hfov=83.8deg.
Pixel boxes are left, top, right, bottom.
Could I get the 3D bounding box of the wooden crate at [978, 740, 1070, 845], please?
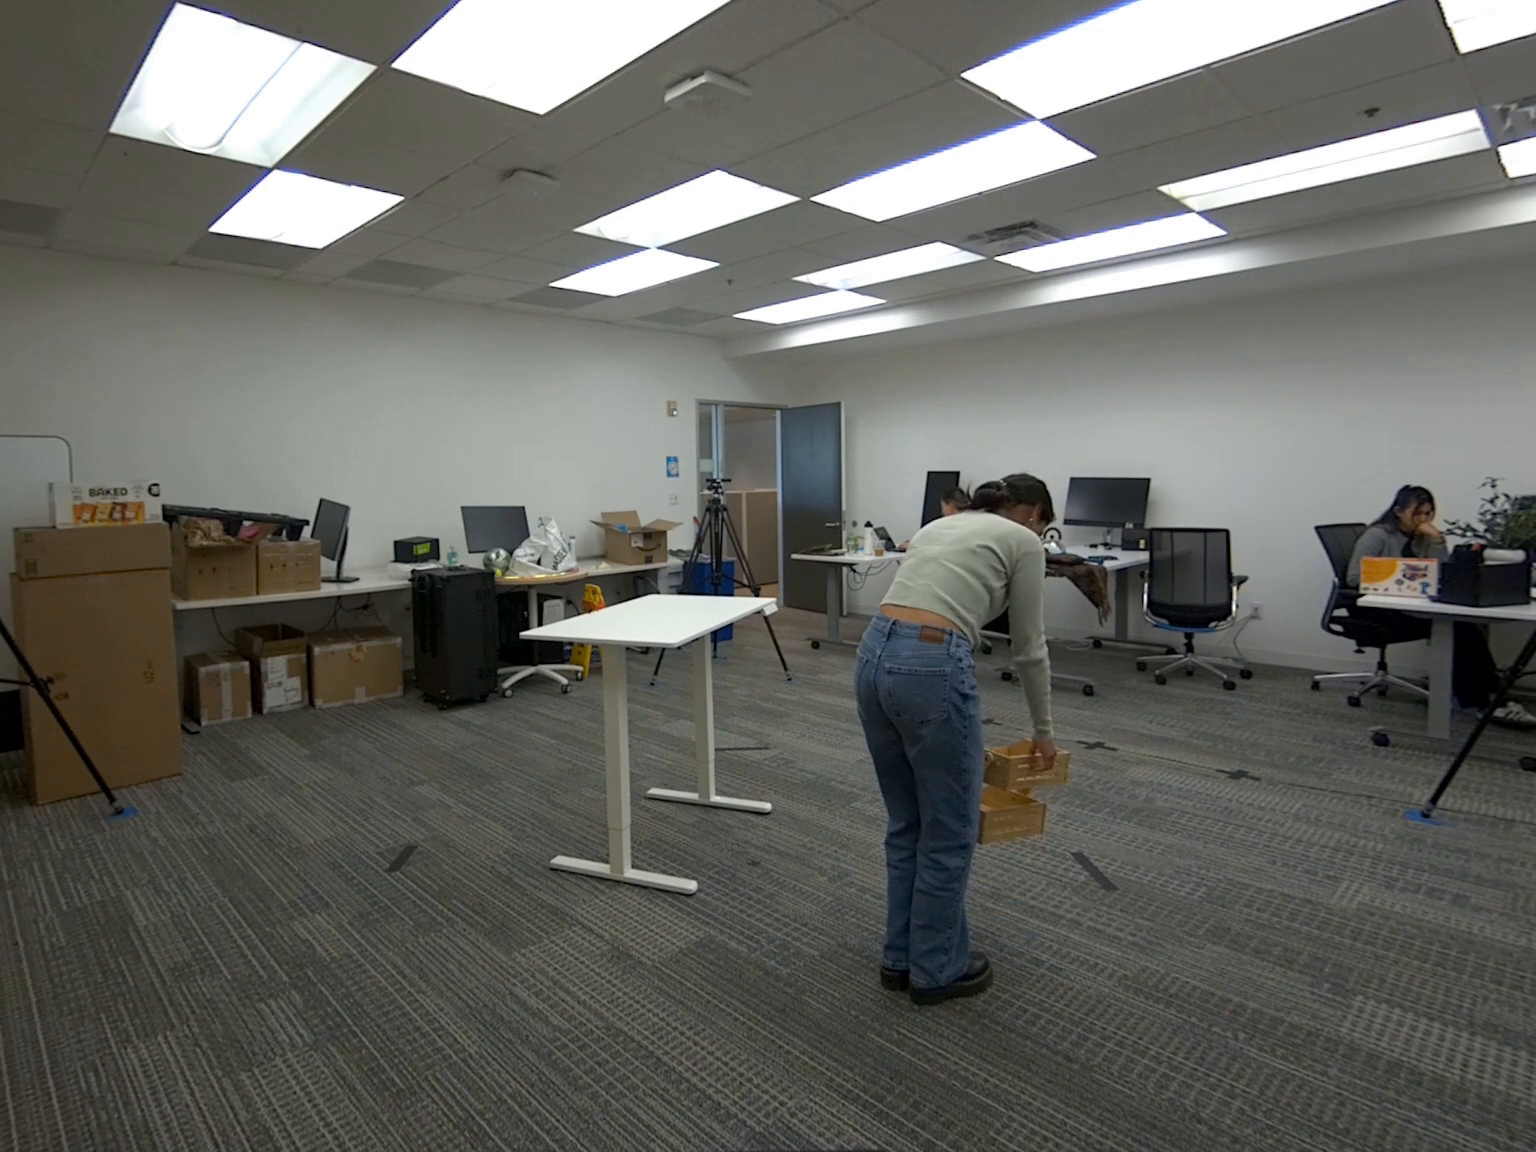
[{"bbox_3d":[0.674,0.617,2.543,0.314,0.273,0.312,6,3,-39],"label":"wooden crate"}]
